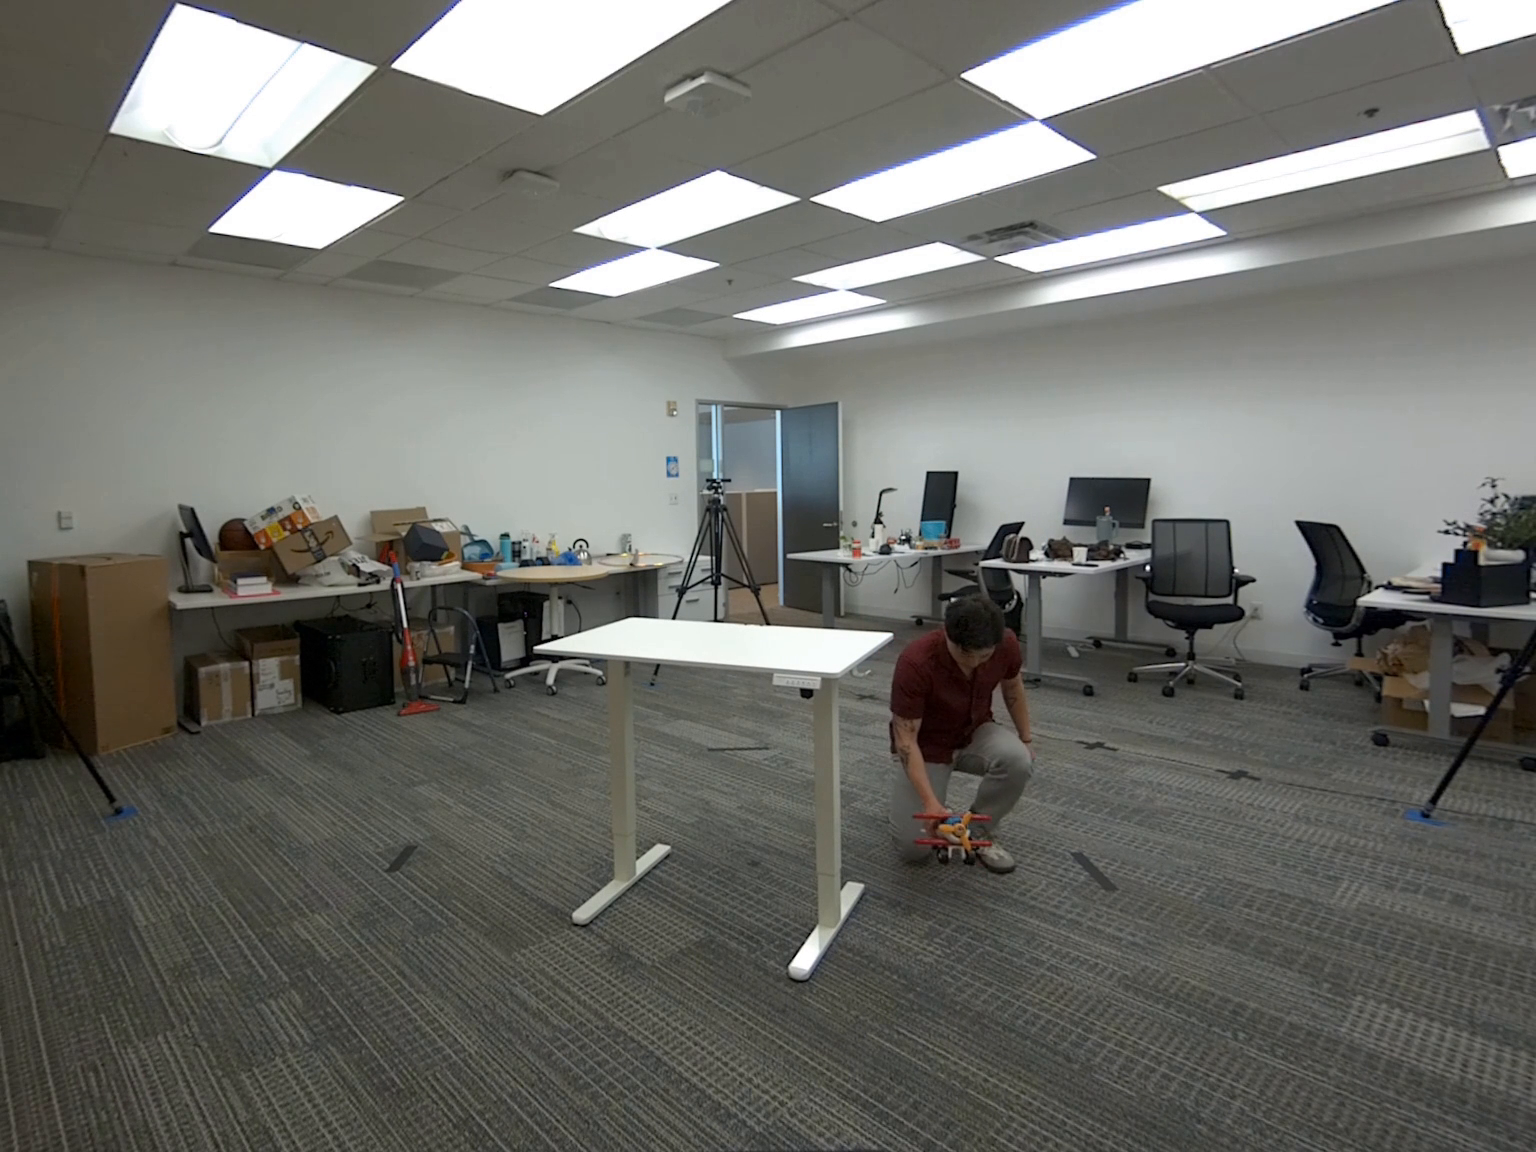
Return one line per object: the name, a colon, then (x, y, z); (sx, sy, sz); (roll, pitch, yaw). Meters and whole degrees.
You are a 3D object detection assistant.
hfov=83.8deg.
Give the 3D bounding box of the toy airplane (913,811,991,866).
toy airplane: (0.579, 0.854, 2.828); (0.244, 0.157, 0.265); (4, -3, -31)
